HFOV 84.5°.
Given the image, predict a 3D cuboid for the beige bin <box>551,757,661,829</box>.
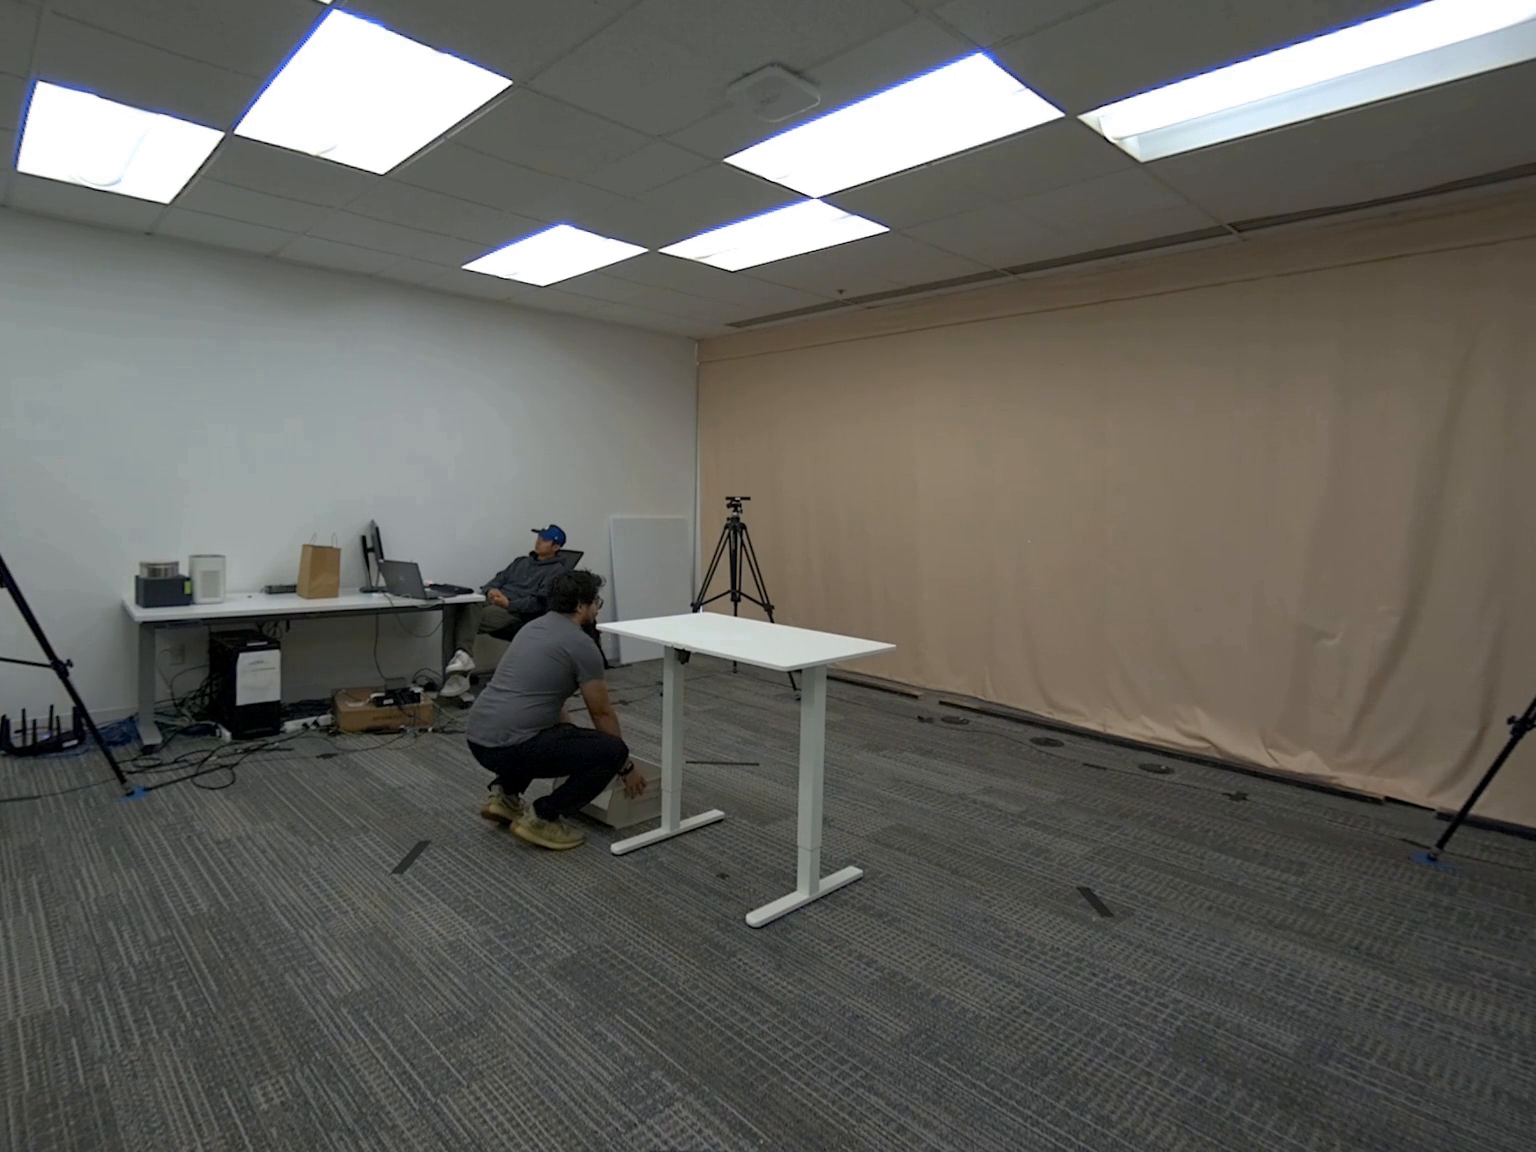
[{"bbox_3d":[-0.696,0.946,3.756,0.433,0.188,0.368,5,5,43],"label":"beige bin"}]
